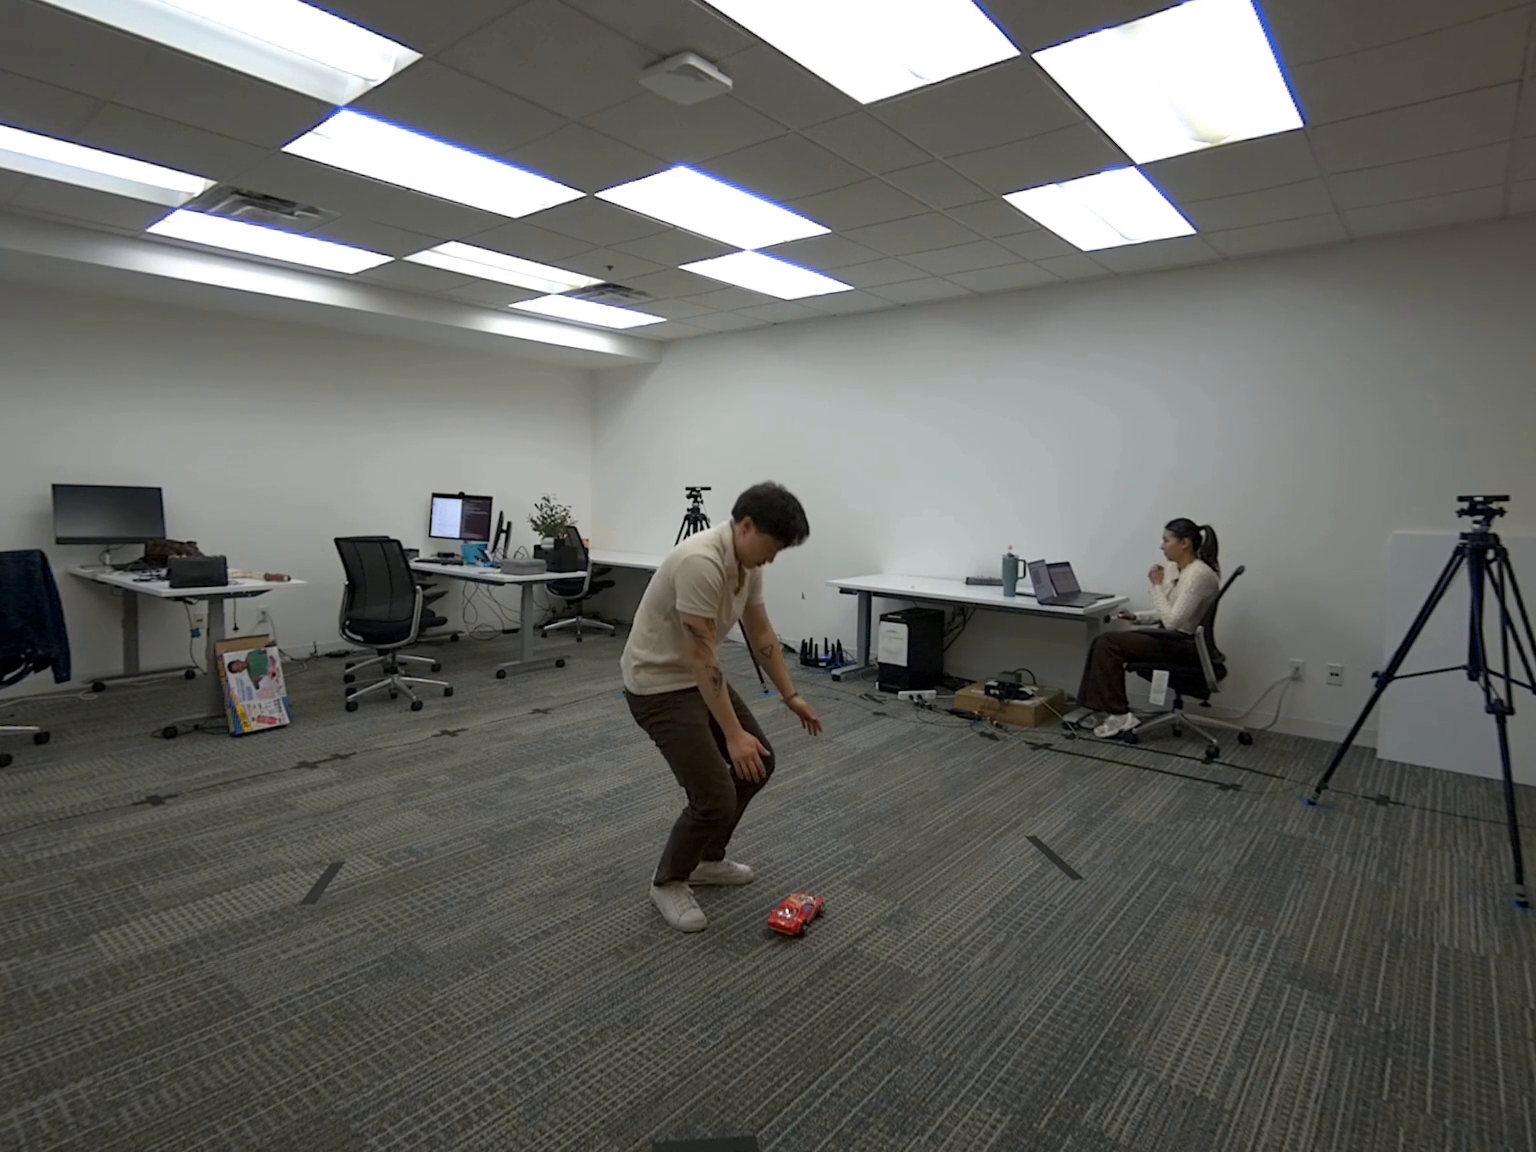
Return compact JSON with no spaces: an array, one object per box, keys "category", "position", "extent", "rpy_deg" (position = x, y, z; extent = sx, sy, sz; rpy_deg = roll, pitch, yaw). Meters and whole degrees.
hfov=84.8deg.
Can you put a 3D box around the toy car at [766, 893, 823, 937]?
[{"category":"toy car","position":[0.085,1.082,2.710],"extent":[0.134,0.083,0.246],"rpy_deg":[5,-5,30]}]
